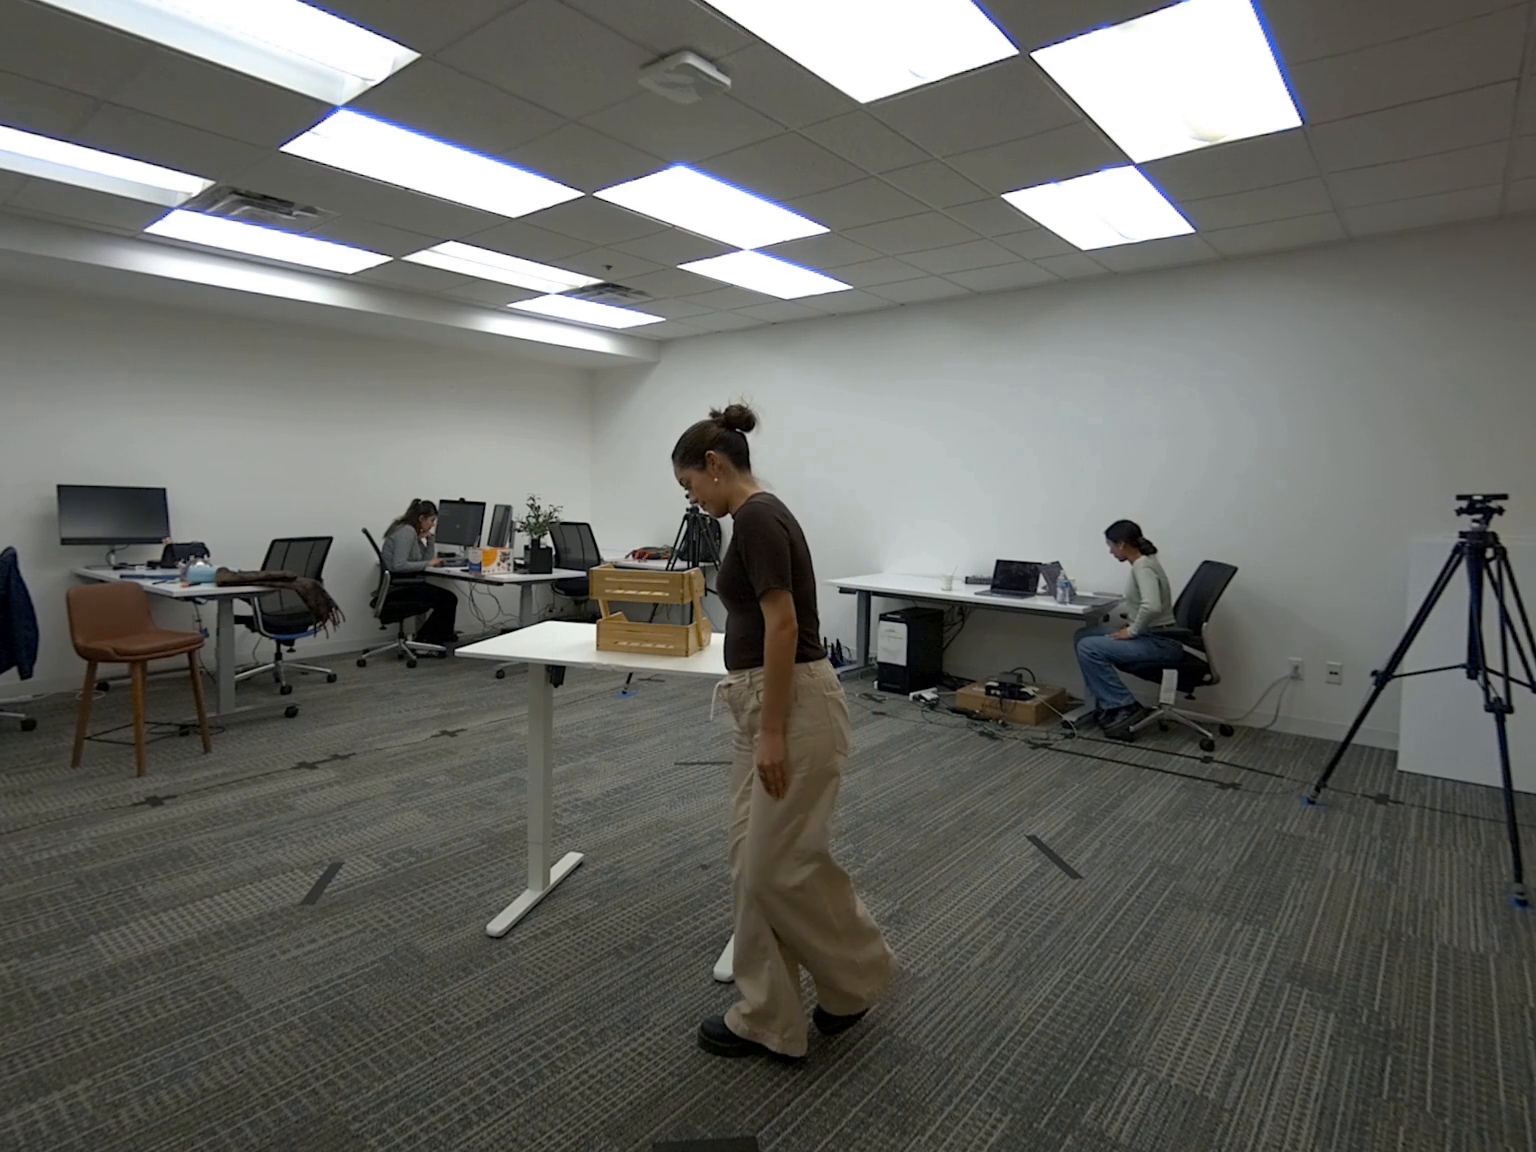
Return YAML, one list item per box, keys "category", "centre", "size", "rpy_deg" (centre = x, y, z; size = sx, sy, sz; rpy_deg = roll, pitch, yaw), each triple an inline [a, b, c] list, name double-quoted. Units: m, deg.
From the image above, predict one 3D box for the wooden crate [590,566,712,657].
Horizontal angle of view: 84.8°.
- category: "wooden crate"
  centre: [-0.370, 0.093, 2.674]
  size: [0.330, 0.272, 0.299]
  rpy_deg: [2, 6, 14]
